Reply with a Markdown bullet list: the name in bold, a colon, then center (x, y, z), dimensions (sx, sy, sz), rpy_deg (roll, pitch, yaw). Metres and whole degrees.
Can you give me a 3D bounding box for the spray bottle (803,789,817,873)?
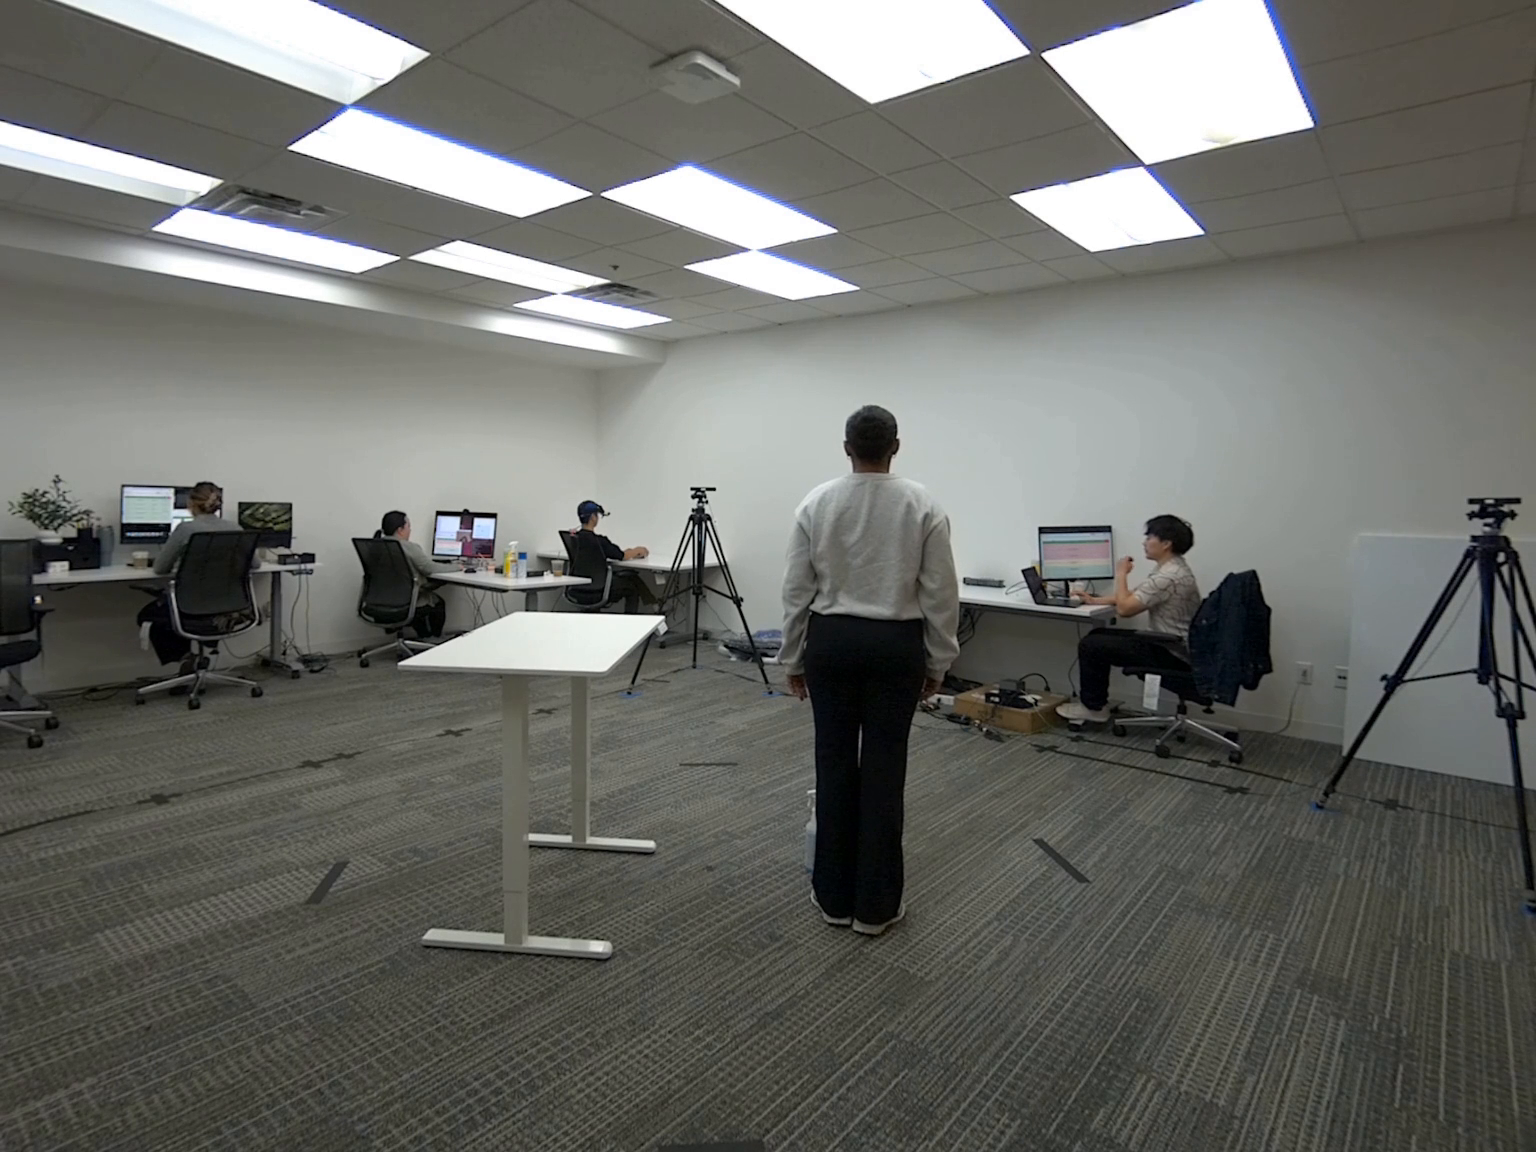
- **spray bottle**: center (0.176, 0.925, 3.116), dimensions (0.089, 0.296, 0.088), rpy_deg (-1, 4, -7)
